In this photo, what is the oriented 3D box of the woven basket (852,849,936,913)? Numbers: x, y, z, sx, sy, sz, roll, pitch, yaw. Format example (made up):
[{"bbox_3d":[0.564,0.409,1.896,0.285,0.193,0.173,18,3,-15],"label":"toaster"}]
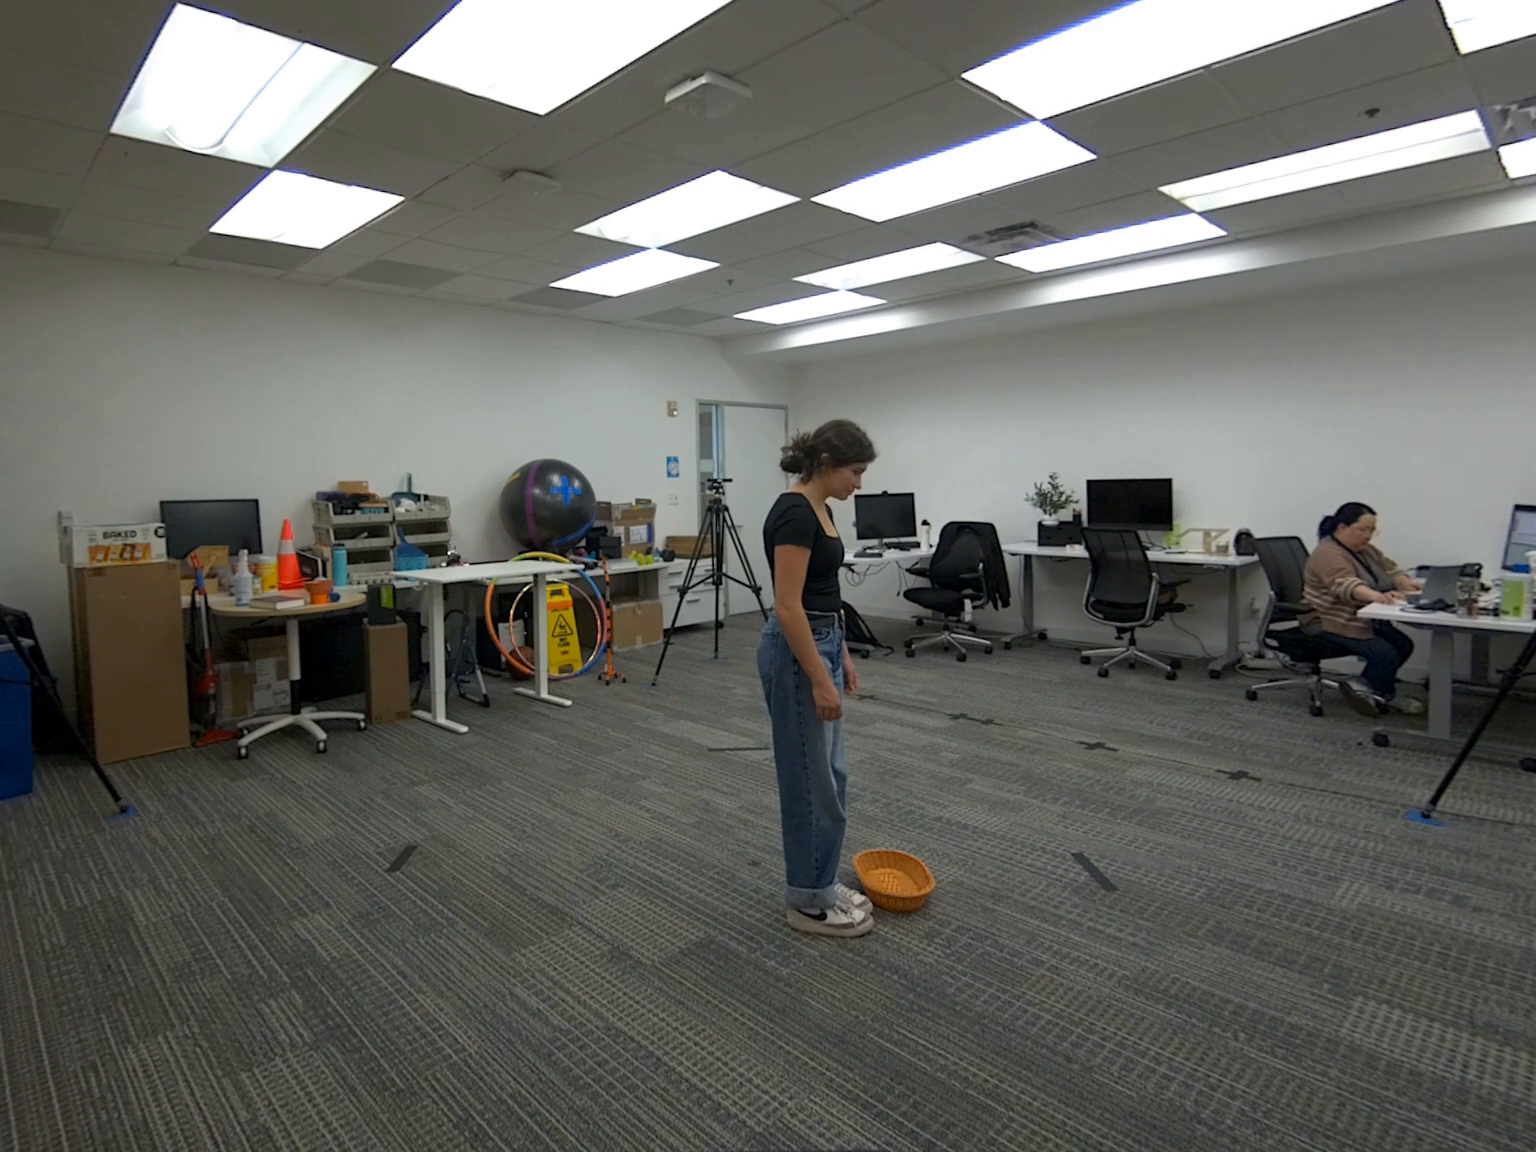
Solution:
[{"bbox_3d":[0.423,1.024,2.879,0.251,0.073,0.353,-1,6,-5],"label":"woven basket"}]
